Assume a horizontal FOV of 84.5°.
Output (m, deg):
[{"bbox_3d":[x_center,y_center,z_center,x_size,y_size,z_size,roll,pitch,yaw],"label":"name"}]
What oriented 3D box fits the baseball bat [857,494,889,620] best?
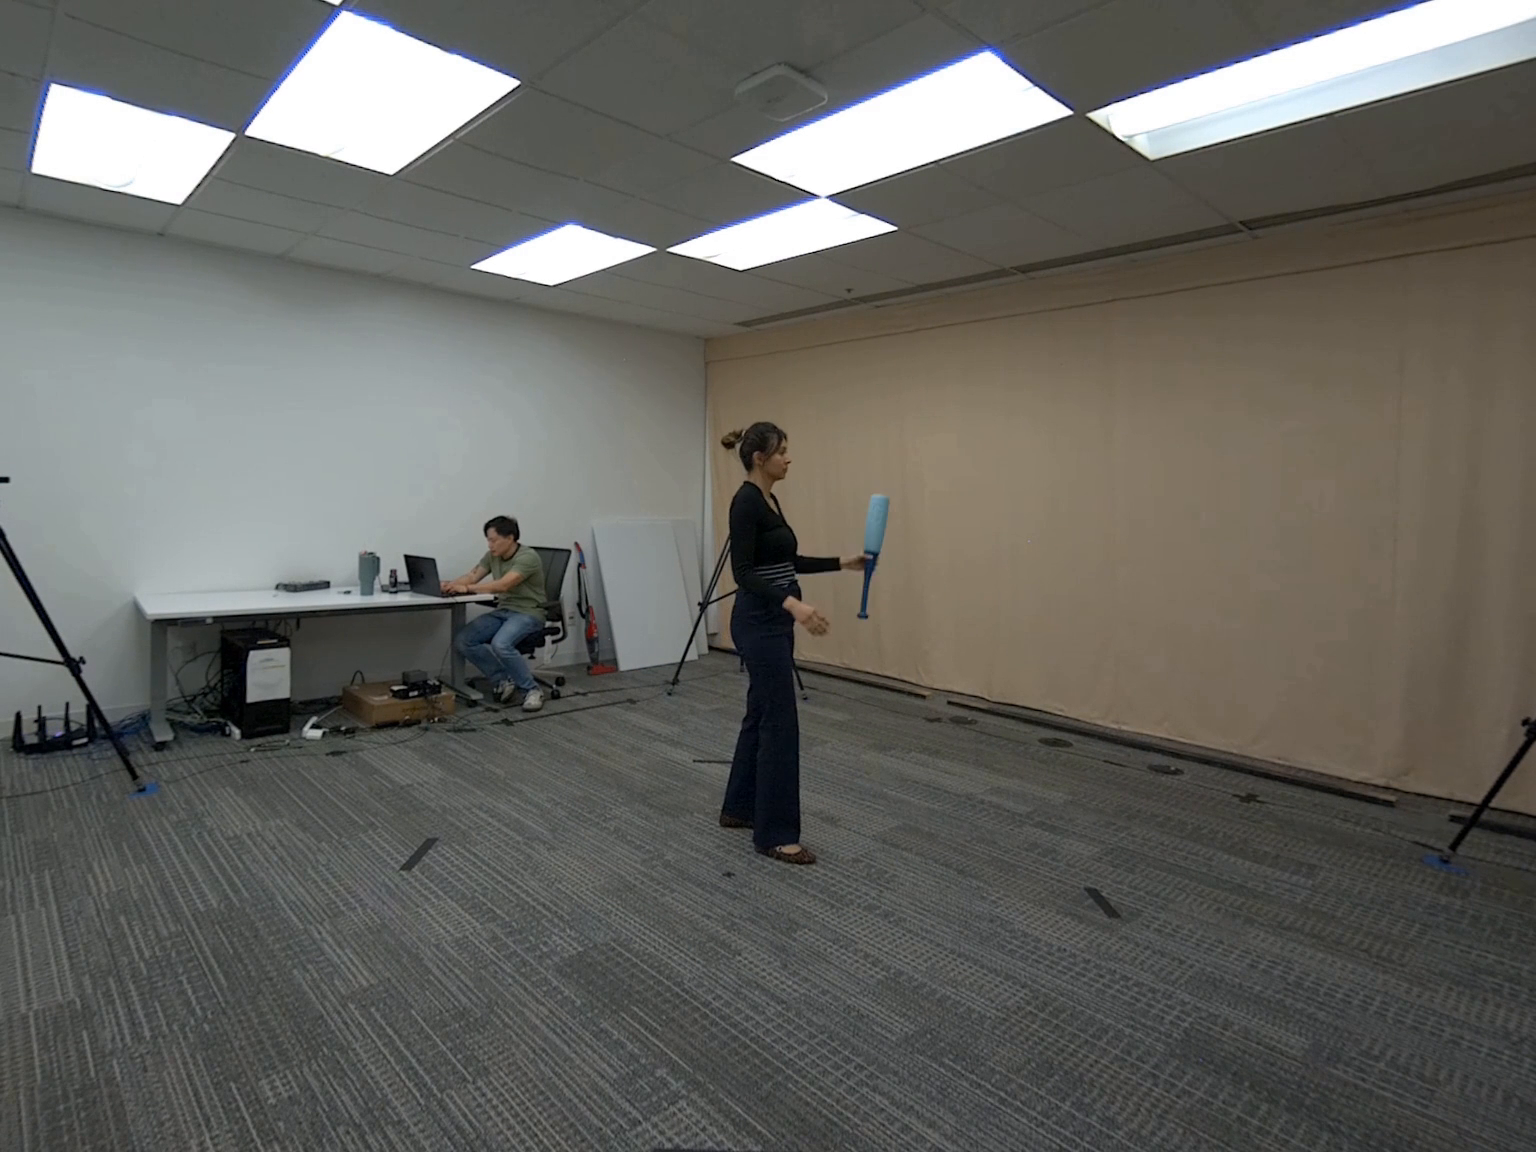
[{"bbox_3d":[0.409,-0.089,3.639,0.089,0.545,0.089,9,-6,-1],"label":"baseball bat"}]
